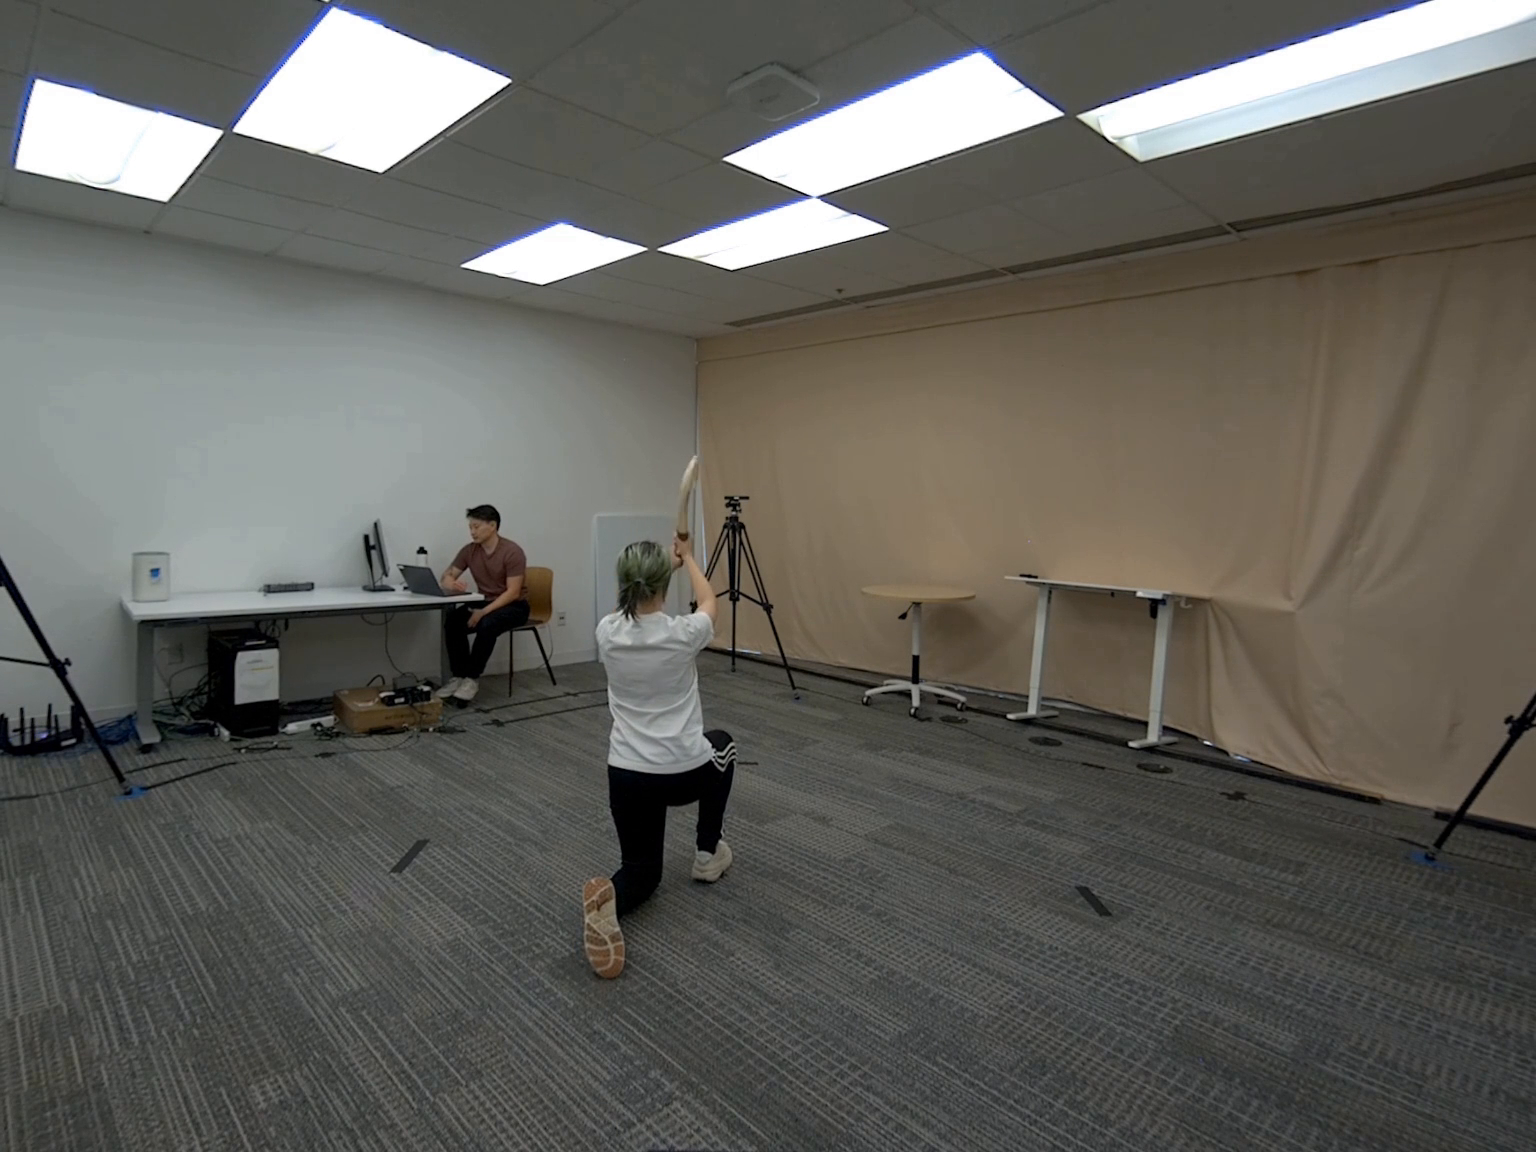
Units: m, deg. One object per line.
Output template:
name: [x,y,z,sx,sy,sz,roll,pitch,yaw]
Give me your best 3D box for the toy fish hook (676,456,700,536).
toy fish hook: [-0.320,-0.232,3.263,0.048,0.498,0.227,18,48,5]
